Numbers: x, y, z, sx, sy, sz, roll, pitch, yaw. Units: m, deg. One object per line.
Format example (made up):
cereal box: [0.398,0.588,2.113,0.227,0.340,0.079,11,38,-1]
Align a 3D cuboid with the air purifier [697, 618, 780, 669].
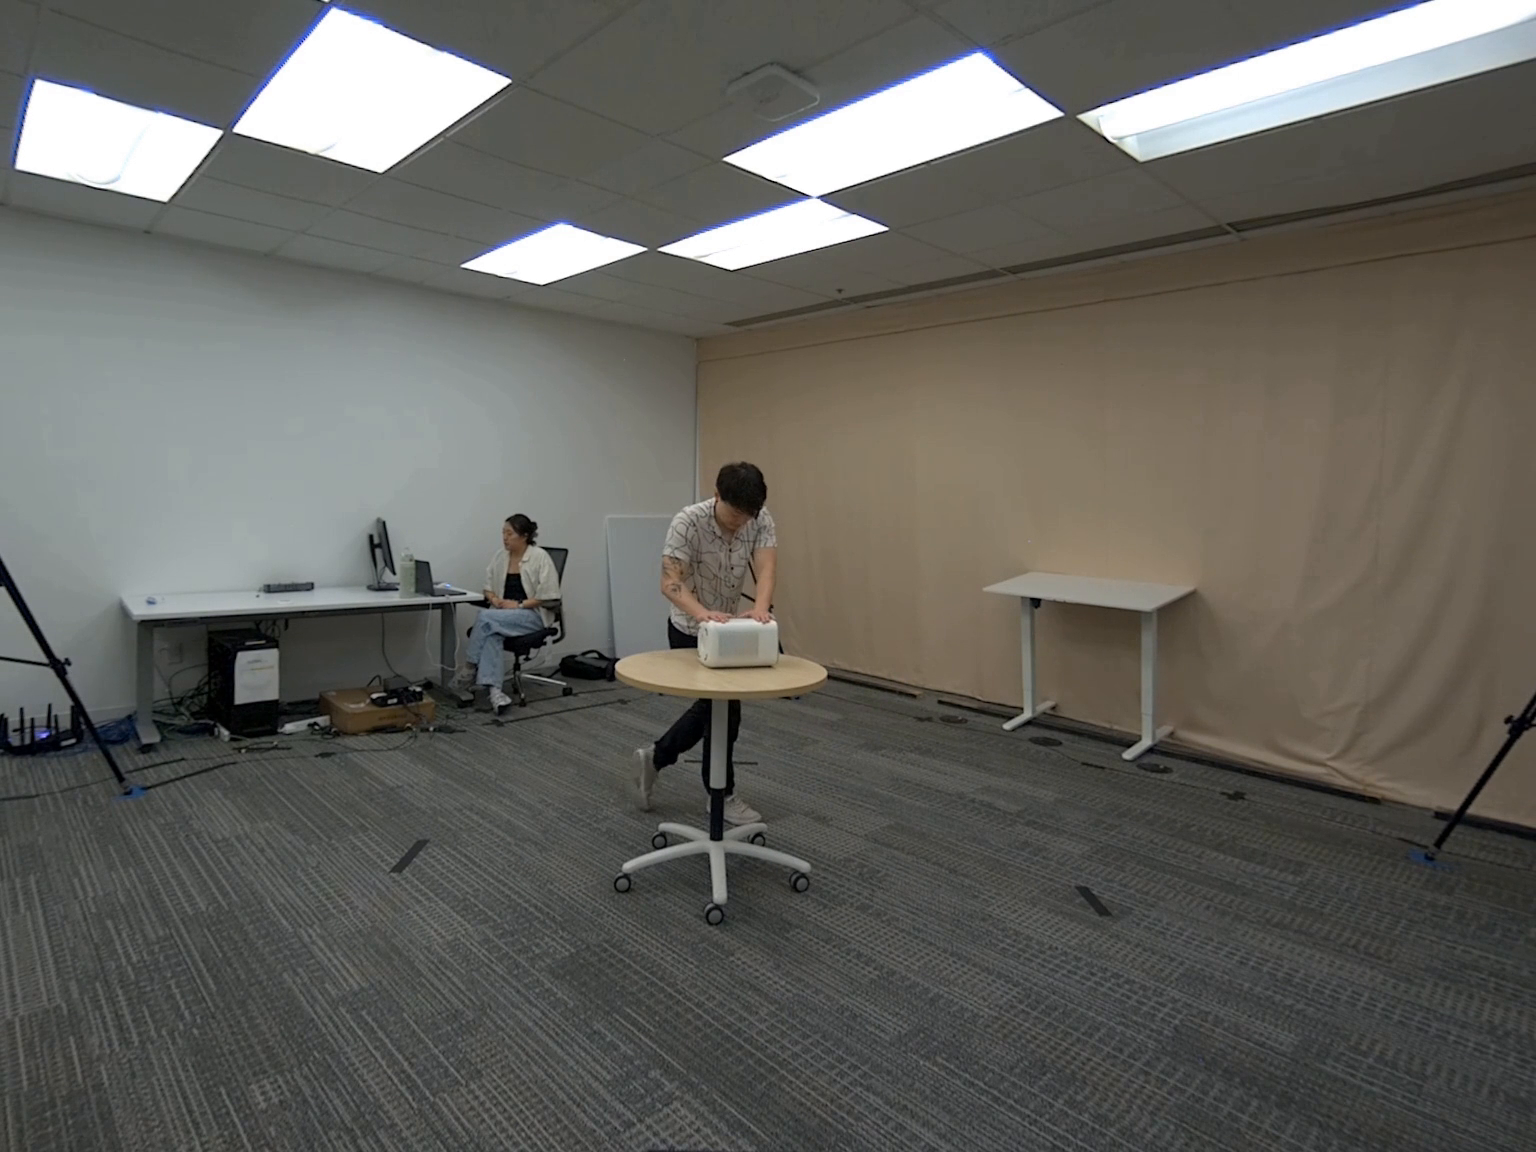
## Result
air purifier: [-0.120,0.242,3.085,0.262,0.171,0.173,0,1,-18]
